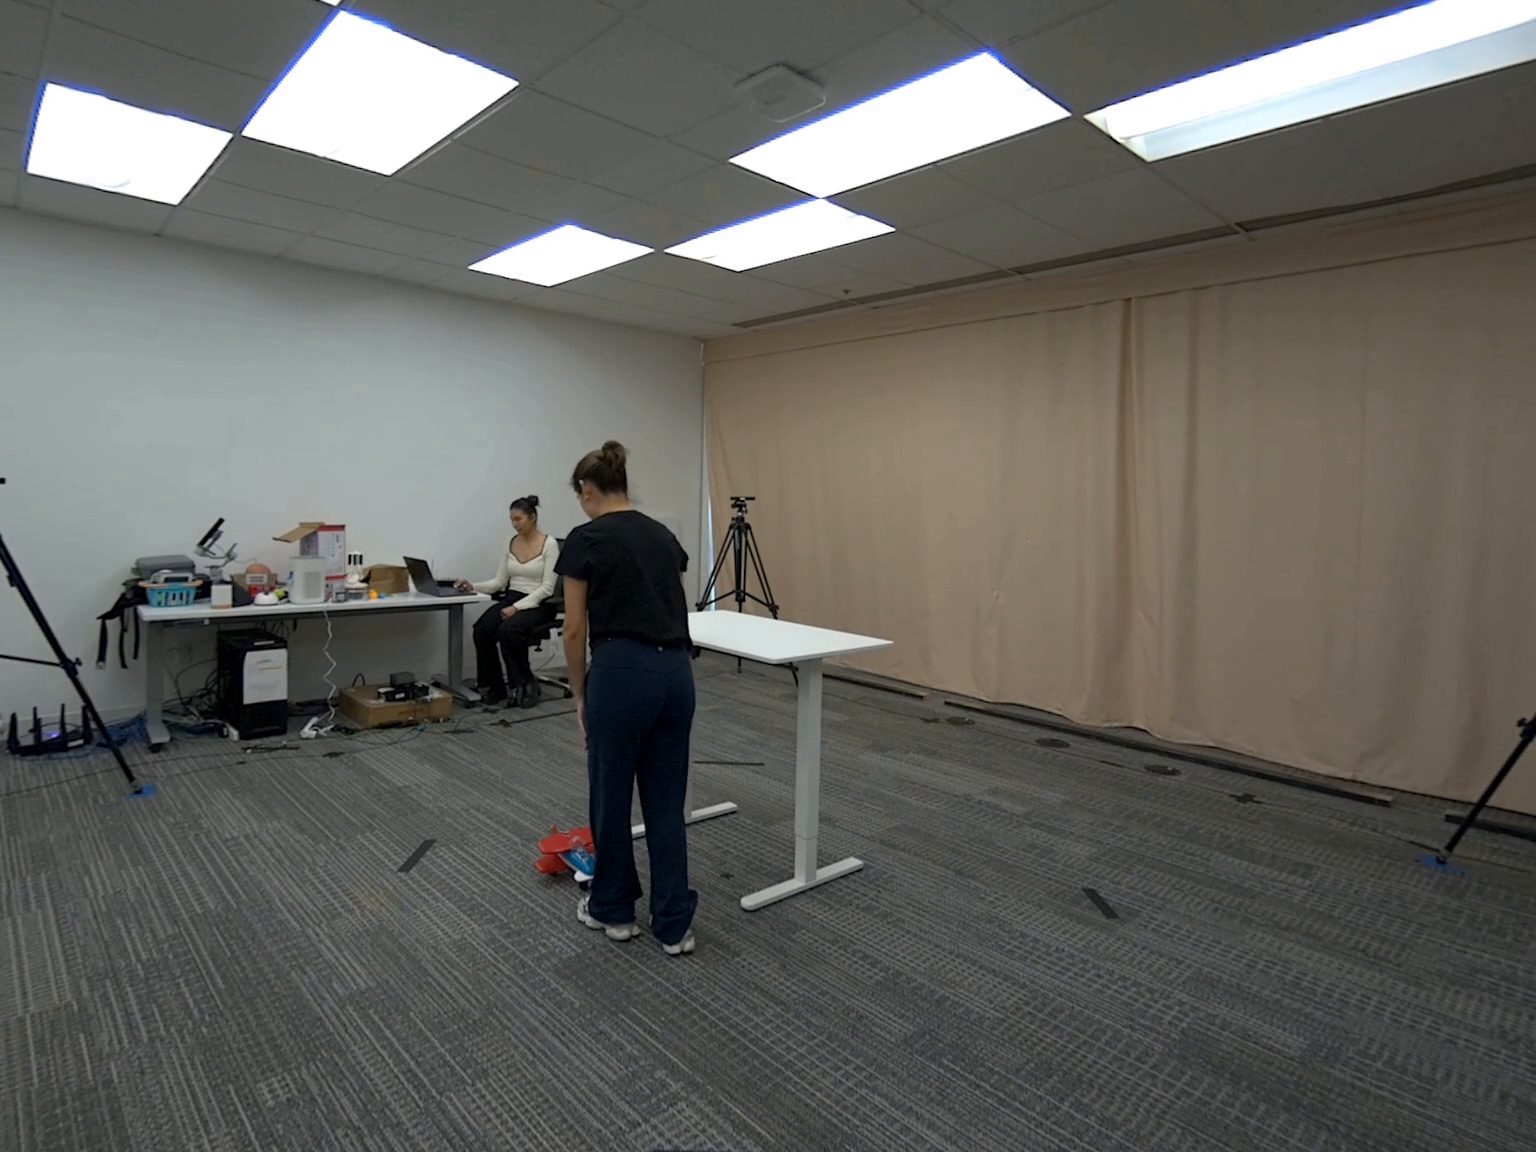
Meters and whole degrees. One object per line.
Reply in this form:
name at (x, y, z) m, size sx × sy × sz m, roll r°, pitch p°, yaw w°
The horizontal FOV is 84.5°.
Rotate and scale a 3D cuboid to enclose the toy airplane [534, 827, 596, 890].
toy airplane at (-0.693, 1.024, 3.041) m, size 0.263 × 0.156 × 0.248 m, roll 2°, pitch 4°, yaw 19°
